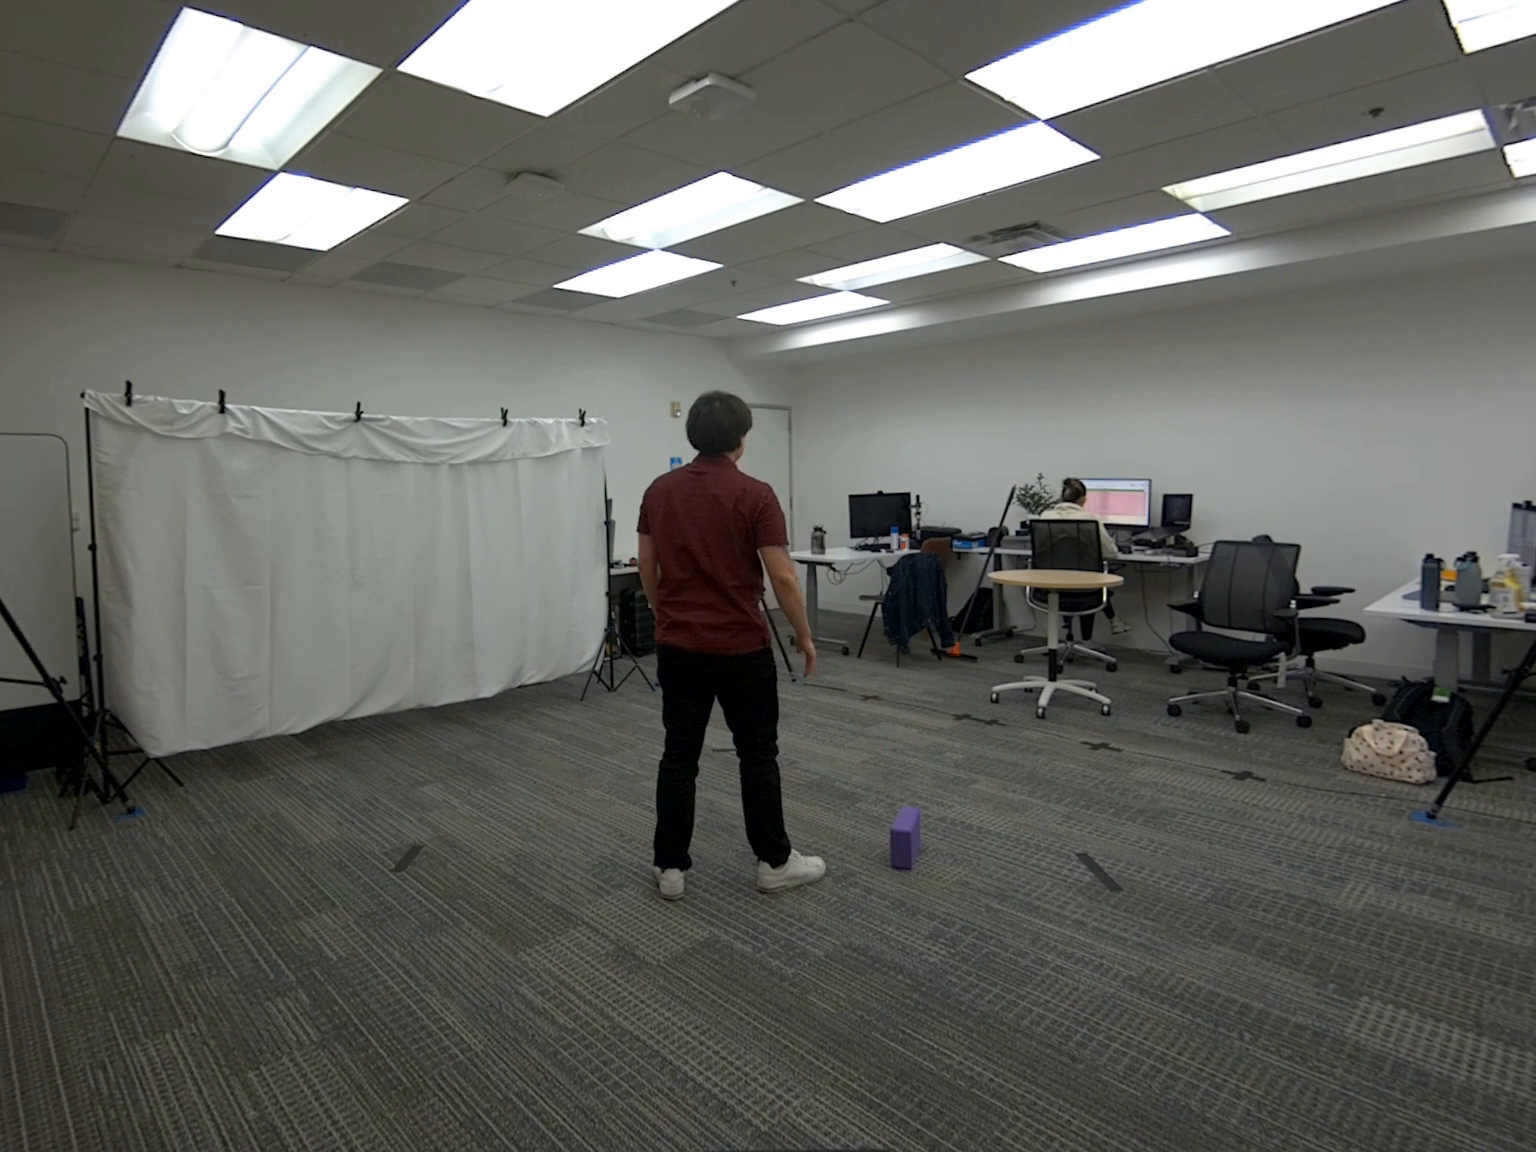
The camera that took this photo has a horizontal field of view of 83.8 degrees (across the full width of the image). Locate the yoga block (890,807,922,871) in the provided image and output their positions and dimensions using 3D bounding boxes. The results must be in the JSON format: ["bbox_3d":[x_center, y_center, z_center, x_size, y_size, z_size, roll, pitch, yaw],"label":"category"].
[{"bbox_3d":[0.507,0.954,3.142,0.078,0.148,0.226,0,6,19],"label":"yoga block"}]
